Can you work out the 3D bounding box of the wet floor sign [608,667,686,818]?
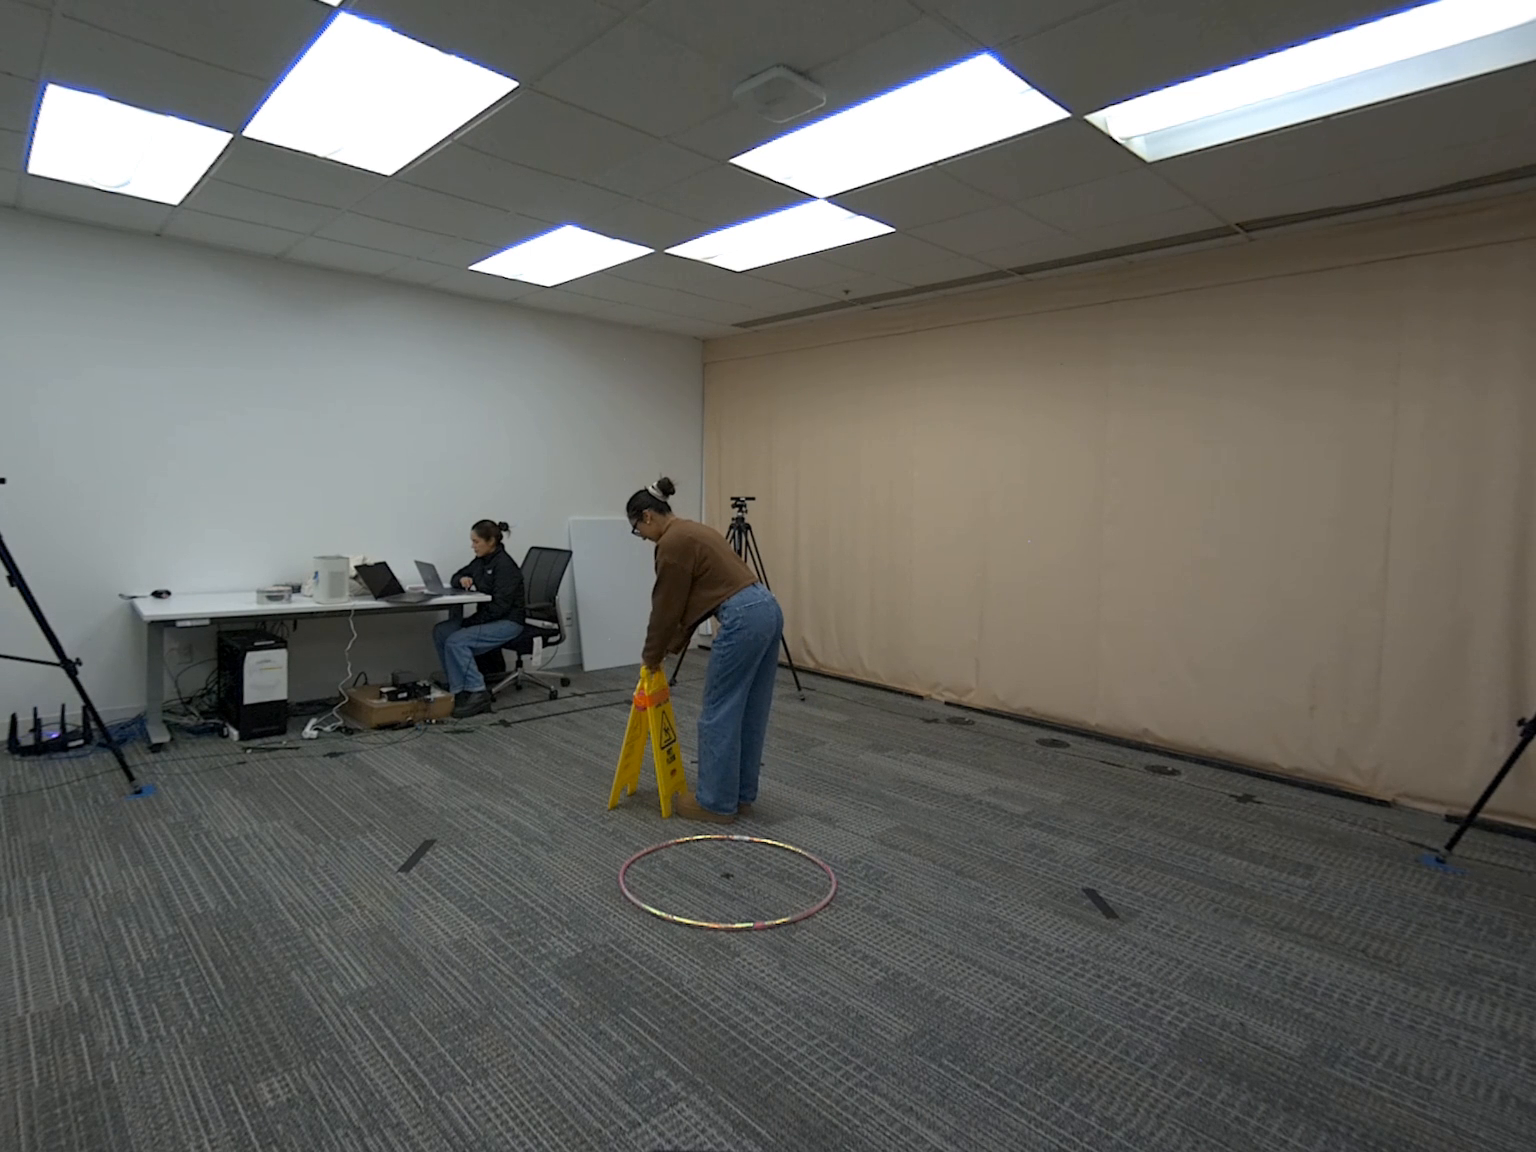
[{"bbox_3d":[-0.534,0.705,3.801,0.294,0.645,0.279,2,2,17],"label":"wet floor sign"}]
